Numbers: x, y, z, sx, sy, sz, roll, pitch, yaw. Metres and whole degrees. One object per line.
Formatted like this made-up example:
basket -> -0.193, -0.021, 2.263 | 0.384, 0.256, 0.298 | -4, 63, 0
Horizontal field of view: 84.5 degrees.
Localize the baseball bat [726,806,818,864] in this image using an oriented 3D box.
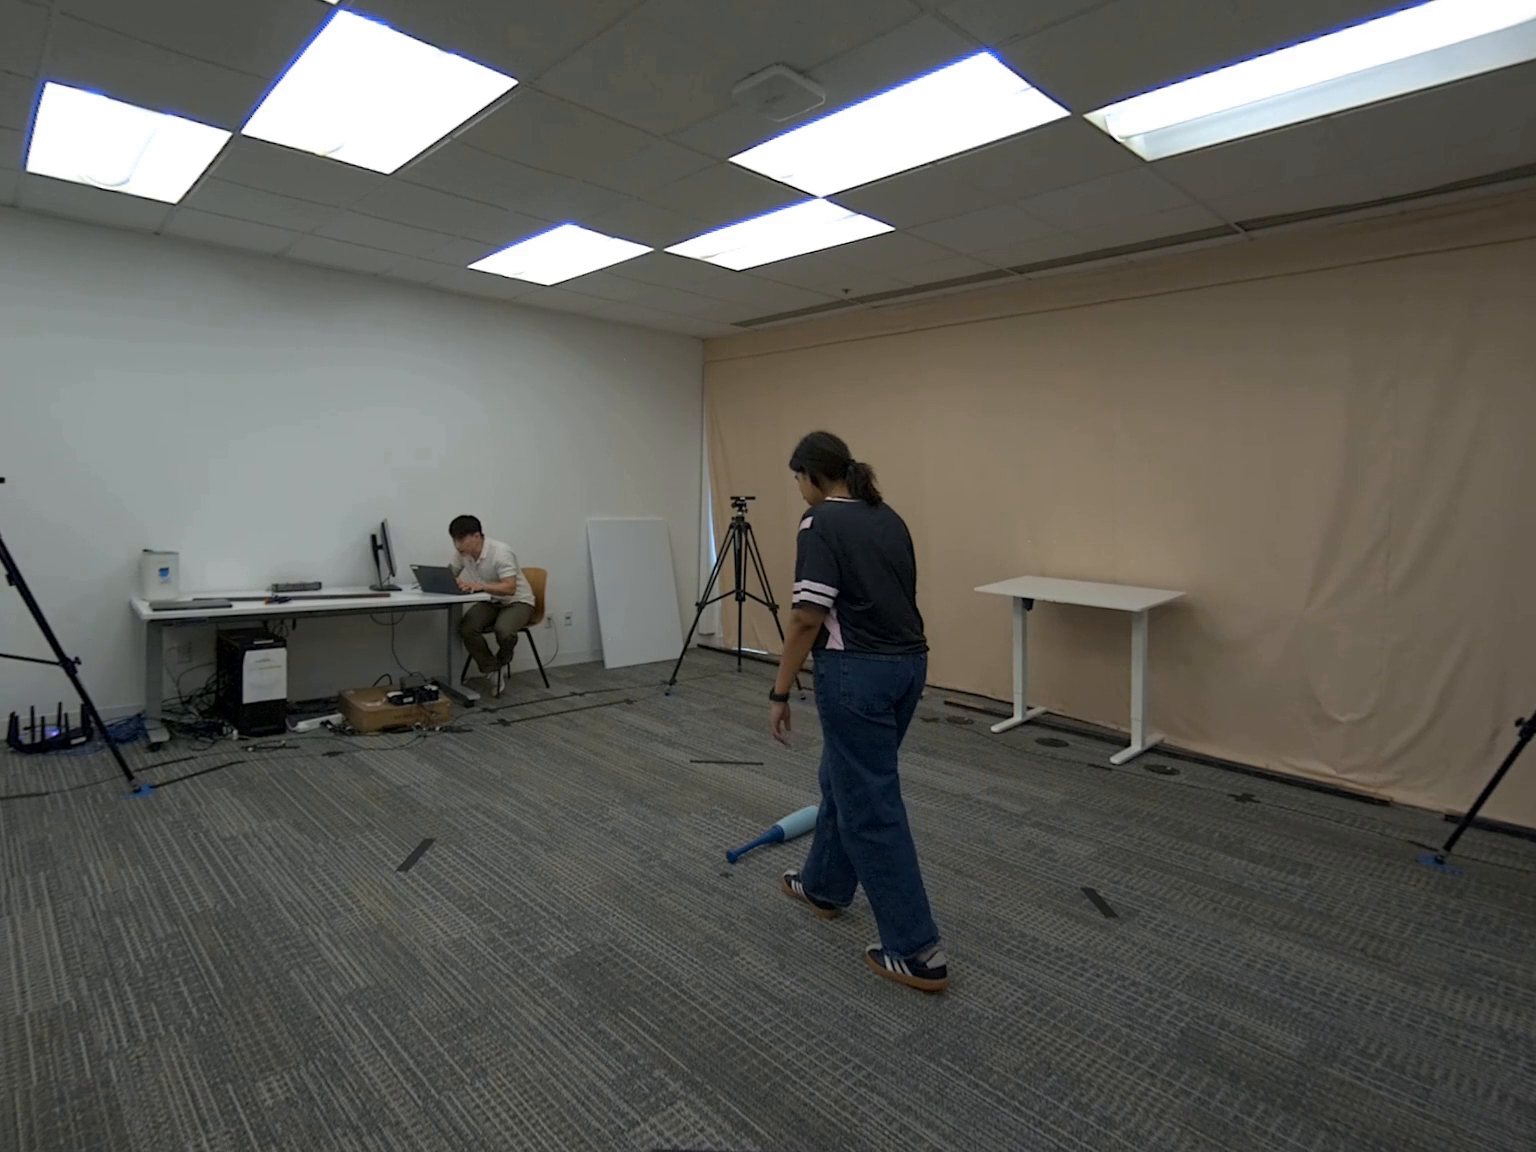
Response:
baseball bat -> 0.022, 1.046, 3.402 | 0.091, 0.088, 0.531 | 5, 9, 42
